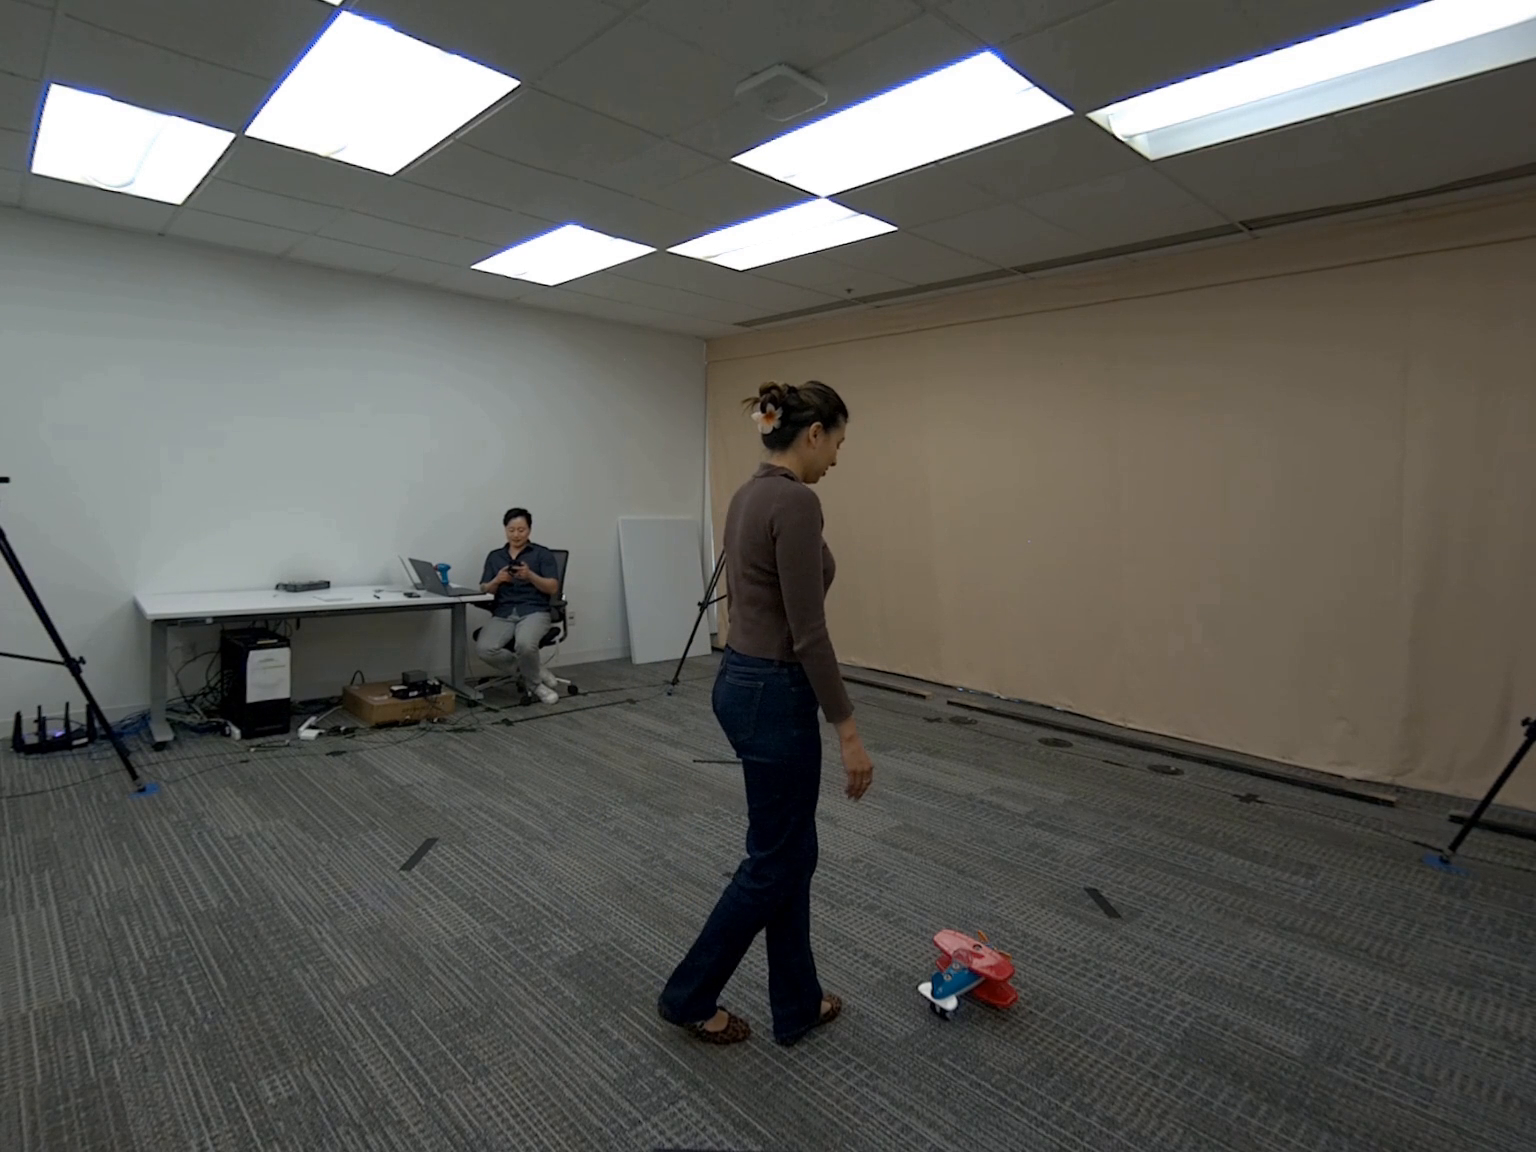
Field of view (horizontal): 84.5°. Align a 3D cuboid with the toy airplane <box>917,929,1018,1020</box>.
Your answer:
[{"bbox_3d":[0.555,1.119,2.323,0.256,0.156,0.254,4,5,27],"label":"toy airplane"}]
